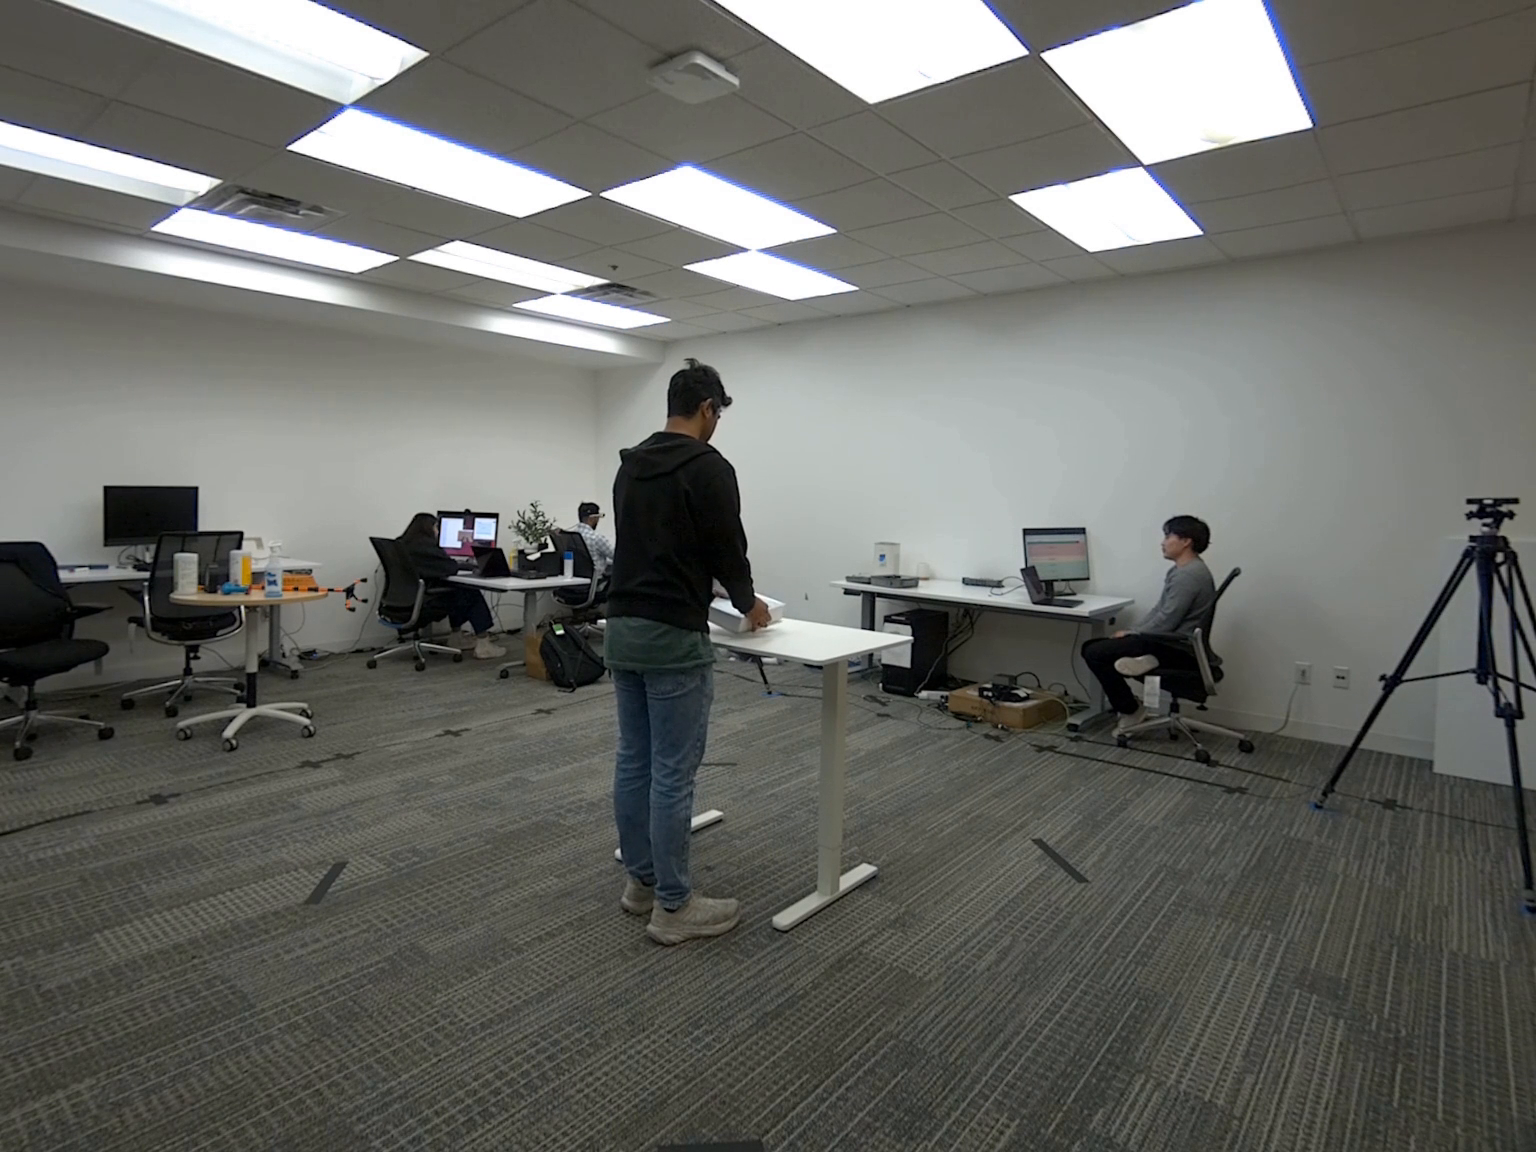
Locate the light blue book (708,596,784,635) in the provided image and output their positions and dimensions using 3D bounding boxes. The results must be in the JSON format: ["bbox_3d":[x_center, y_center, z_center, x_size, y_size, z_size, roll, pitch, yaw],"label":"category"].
[{"bbox_3d":[-0.085,0.119,3.012,0.197,0.058,0.256,15,18,26],"label":"light blue book"}]
